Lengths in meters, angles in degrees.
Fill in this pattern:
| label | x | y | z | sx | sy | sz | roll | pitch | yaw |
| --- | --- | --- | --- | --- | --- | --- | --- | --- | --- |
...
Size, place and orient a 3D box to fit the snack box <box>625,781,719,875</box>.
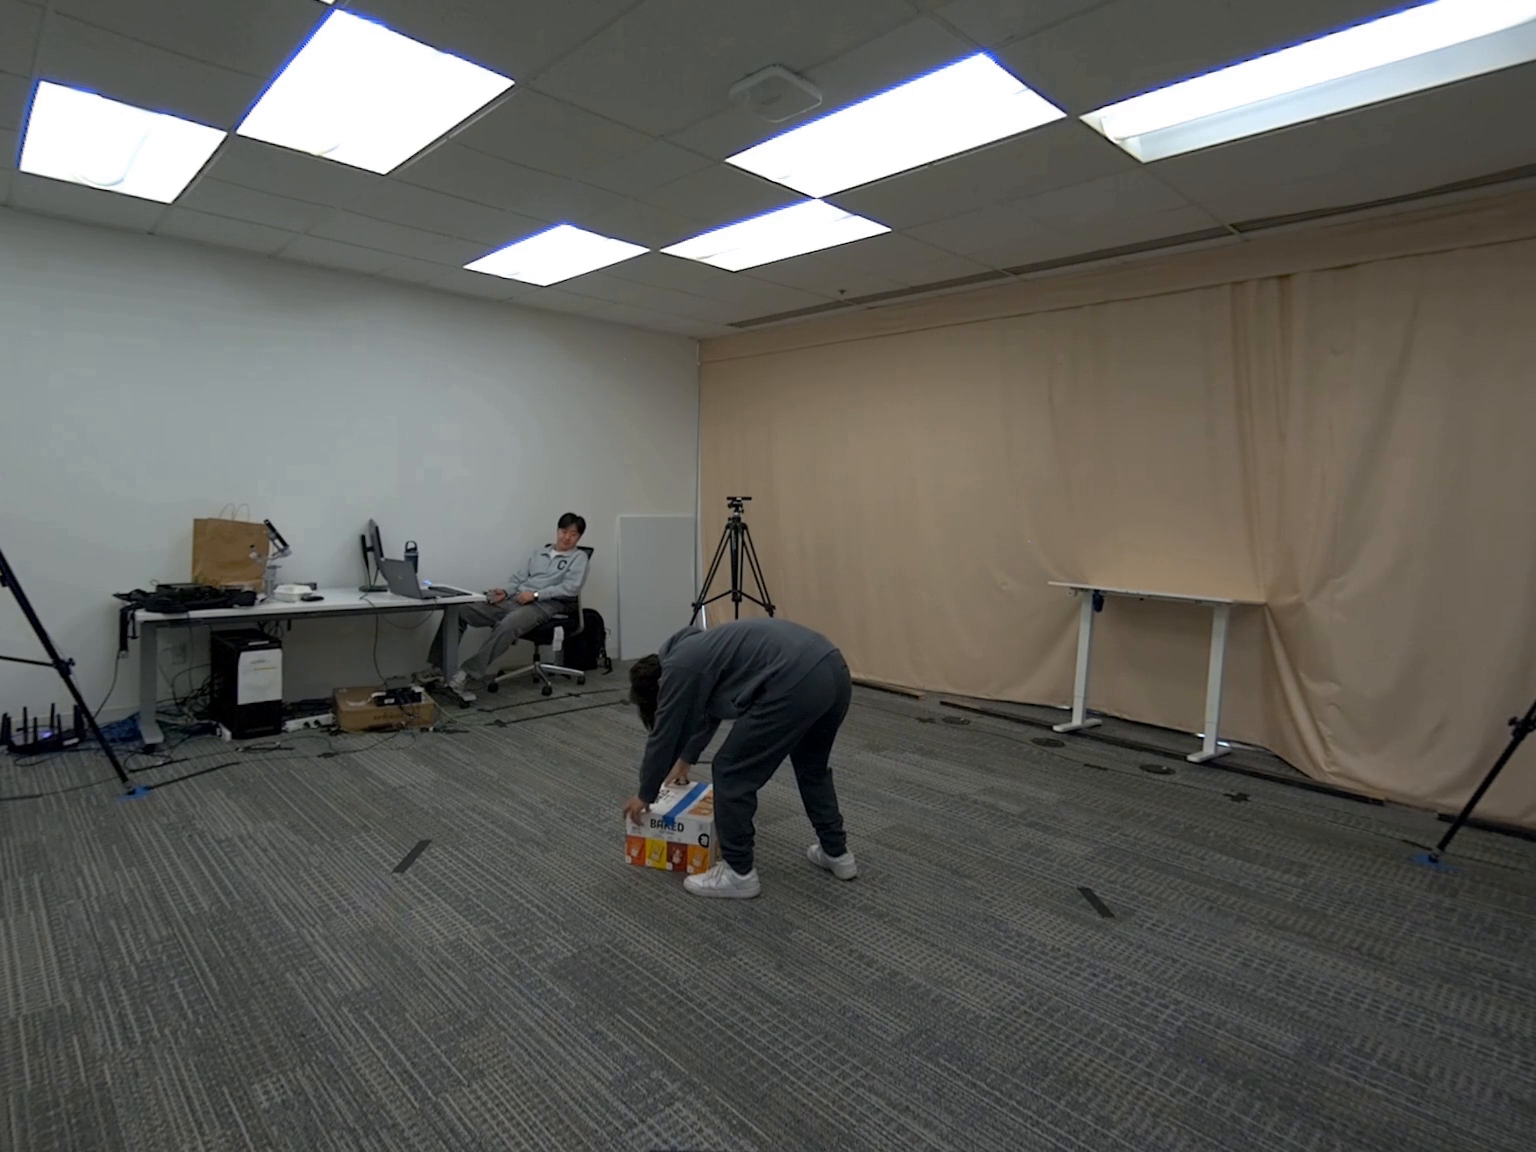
| label | x | y | z | sx | sy | sz | roll | pitch | yaw |
| --- | --- | --- | --- | --- | --- | --- | --- | --- | --- |
| snack box | -0.332 | 0.984 | 3.328 | 0.345 | 0.205 | 0.401 | 3 | 5 | 16 |
